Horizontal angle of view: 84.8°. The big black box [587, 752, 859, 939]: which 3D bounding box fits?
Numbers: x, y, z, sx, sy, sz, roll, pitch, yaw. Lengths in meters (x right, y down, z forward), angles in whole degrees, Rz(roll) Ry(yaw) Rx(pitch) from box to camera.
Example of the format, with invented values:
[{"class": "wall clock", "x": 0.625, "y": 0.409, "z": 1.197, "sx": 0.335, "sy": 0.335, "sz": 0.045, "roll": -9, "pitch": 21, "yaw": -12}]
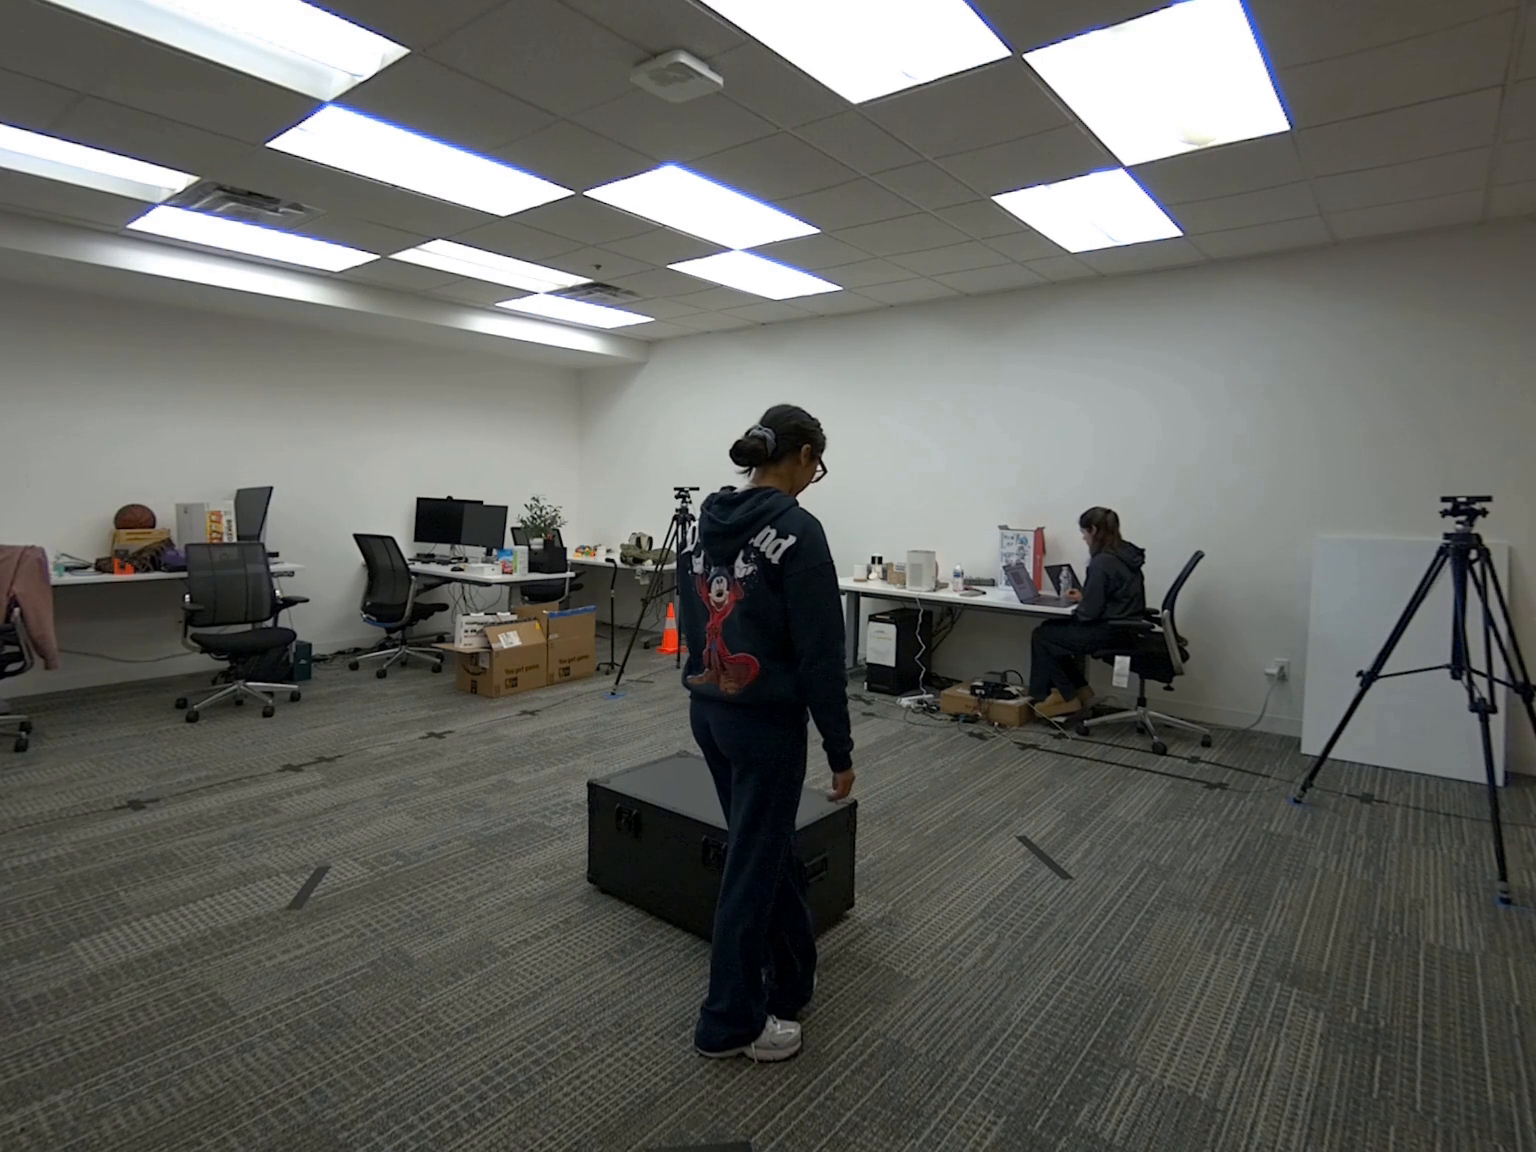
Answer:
[{"class": "big black box", "x": -0.200, "y": 0.899, "z": 2.879, "sx": 0.891, "sy": 0.395, "sz": 0.506, "roll": 6, "pitch": 6, "yaw": 38}]
